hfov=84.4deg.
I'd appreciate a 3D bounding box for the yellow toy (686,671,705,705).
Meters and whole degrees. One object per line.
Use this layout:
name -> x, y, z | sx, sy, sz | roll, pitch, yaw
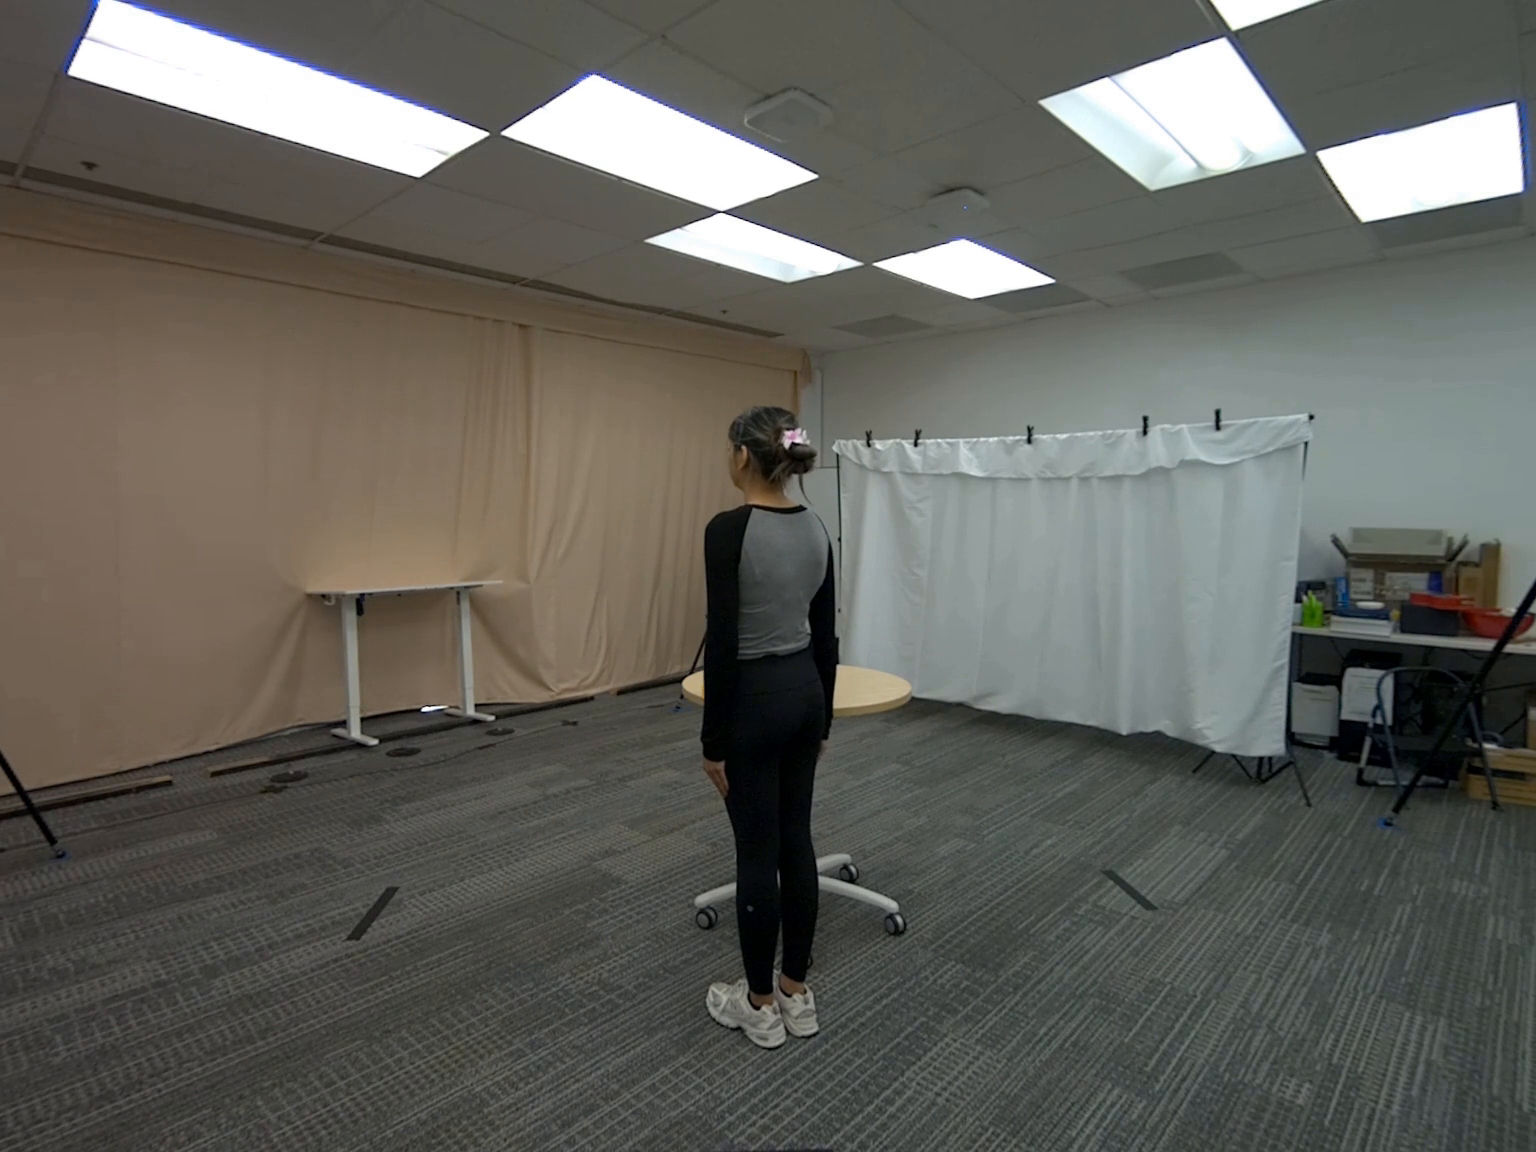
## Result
yellow toy -> -0.096, 0.263, 2.618 | 0.200, 0.230, 0.198 | -1, 2, -26
